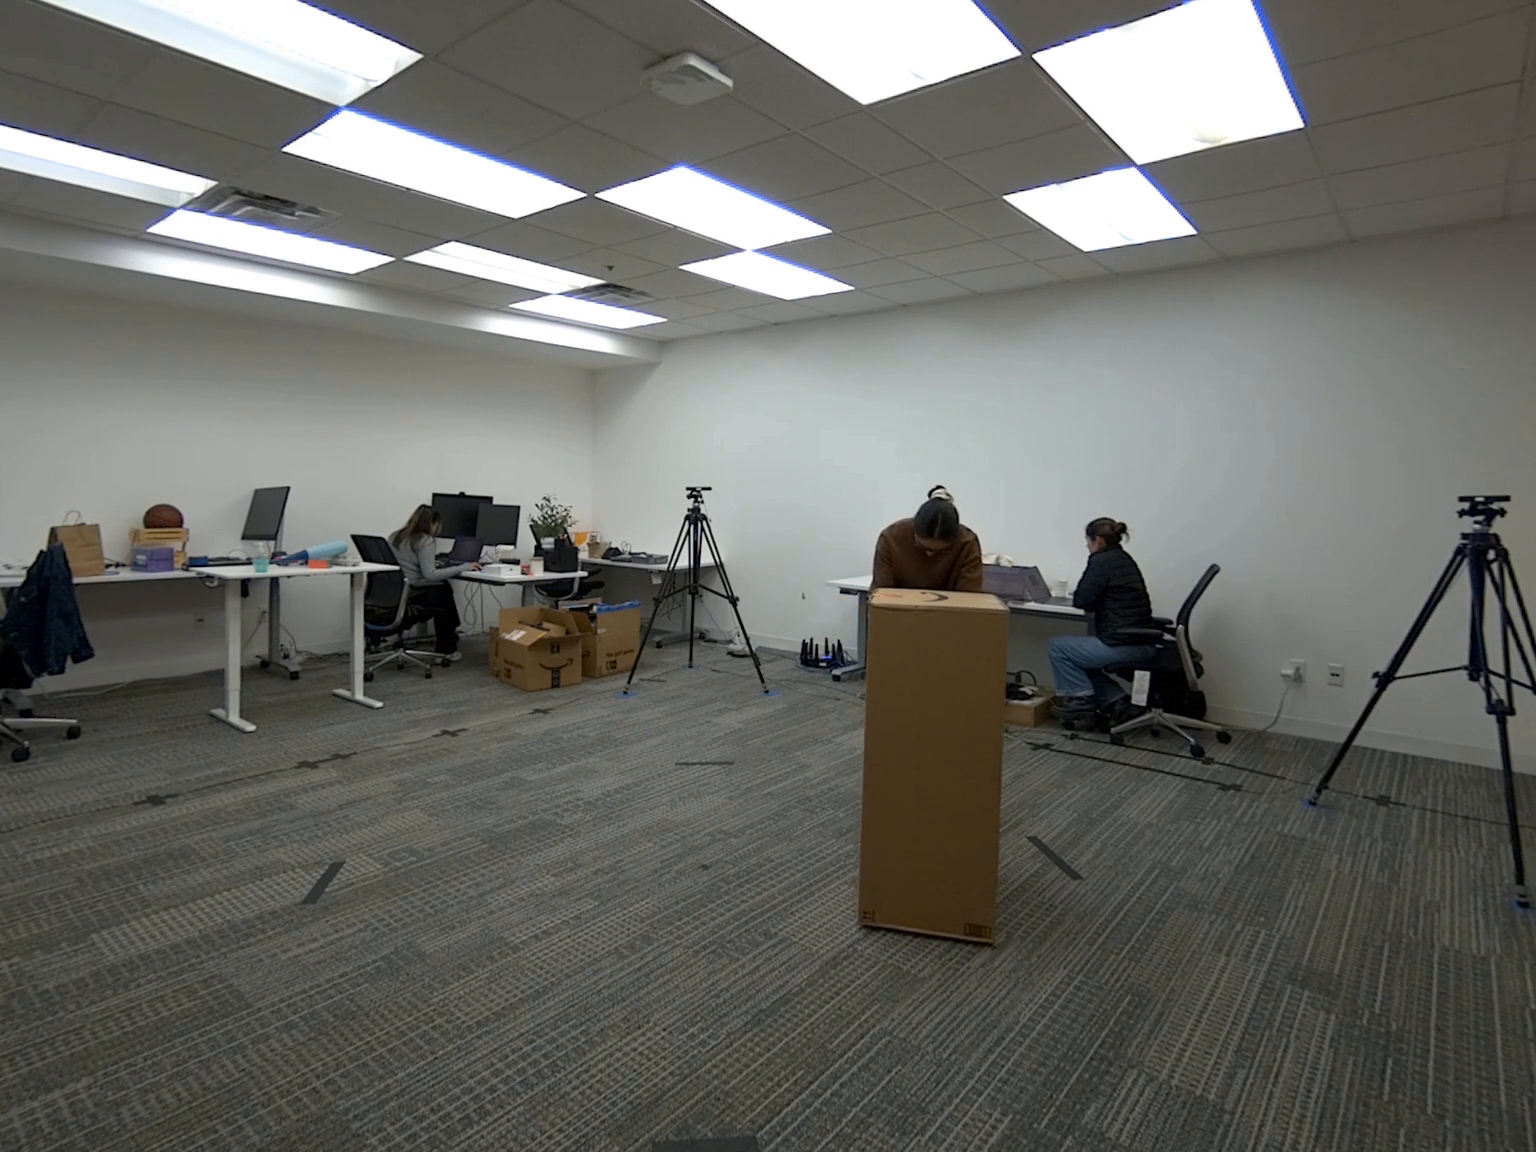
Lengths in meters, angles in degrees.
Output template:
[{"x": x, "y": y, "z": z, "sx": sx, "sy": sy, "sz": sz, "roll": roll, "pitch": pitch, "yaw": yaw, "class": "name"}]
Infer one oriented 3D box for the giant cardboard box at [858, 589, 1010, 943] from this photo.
[{"x": 0.539, "y": 0.584, "z": 2.901, "sx": 0.432, "sy": 1.024, "sz": 0.570, "roll": 2, "pitch": 2, "yaw": 12, "class": "giant cardboard box"}]
